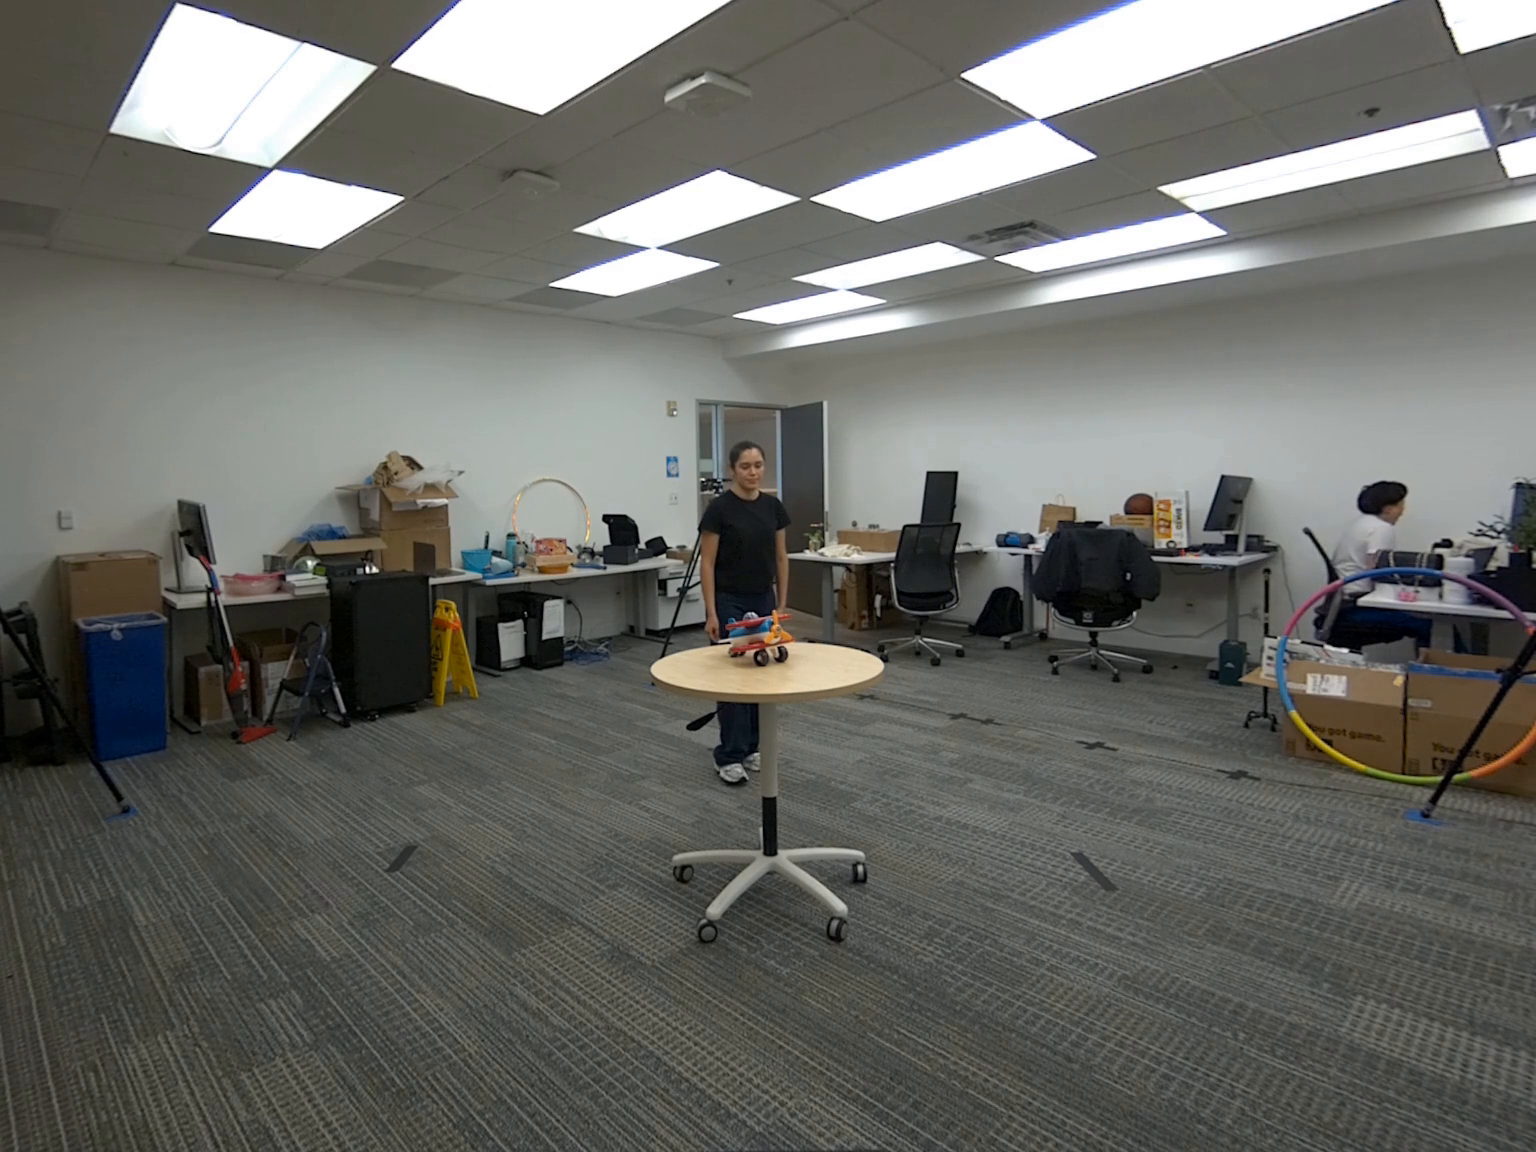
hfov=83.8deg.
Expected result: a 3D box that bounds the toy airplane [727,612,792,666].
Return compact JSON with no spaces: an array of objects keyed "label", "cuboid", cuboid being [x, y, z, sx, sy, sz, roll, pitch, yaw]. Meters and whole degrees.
[{"label":"toy airplane","cuboid":[-0.064,0.211,2.898,0.265,0.156,0.247,2,7,22]}]
